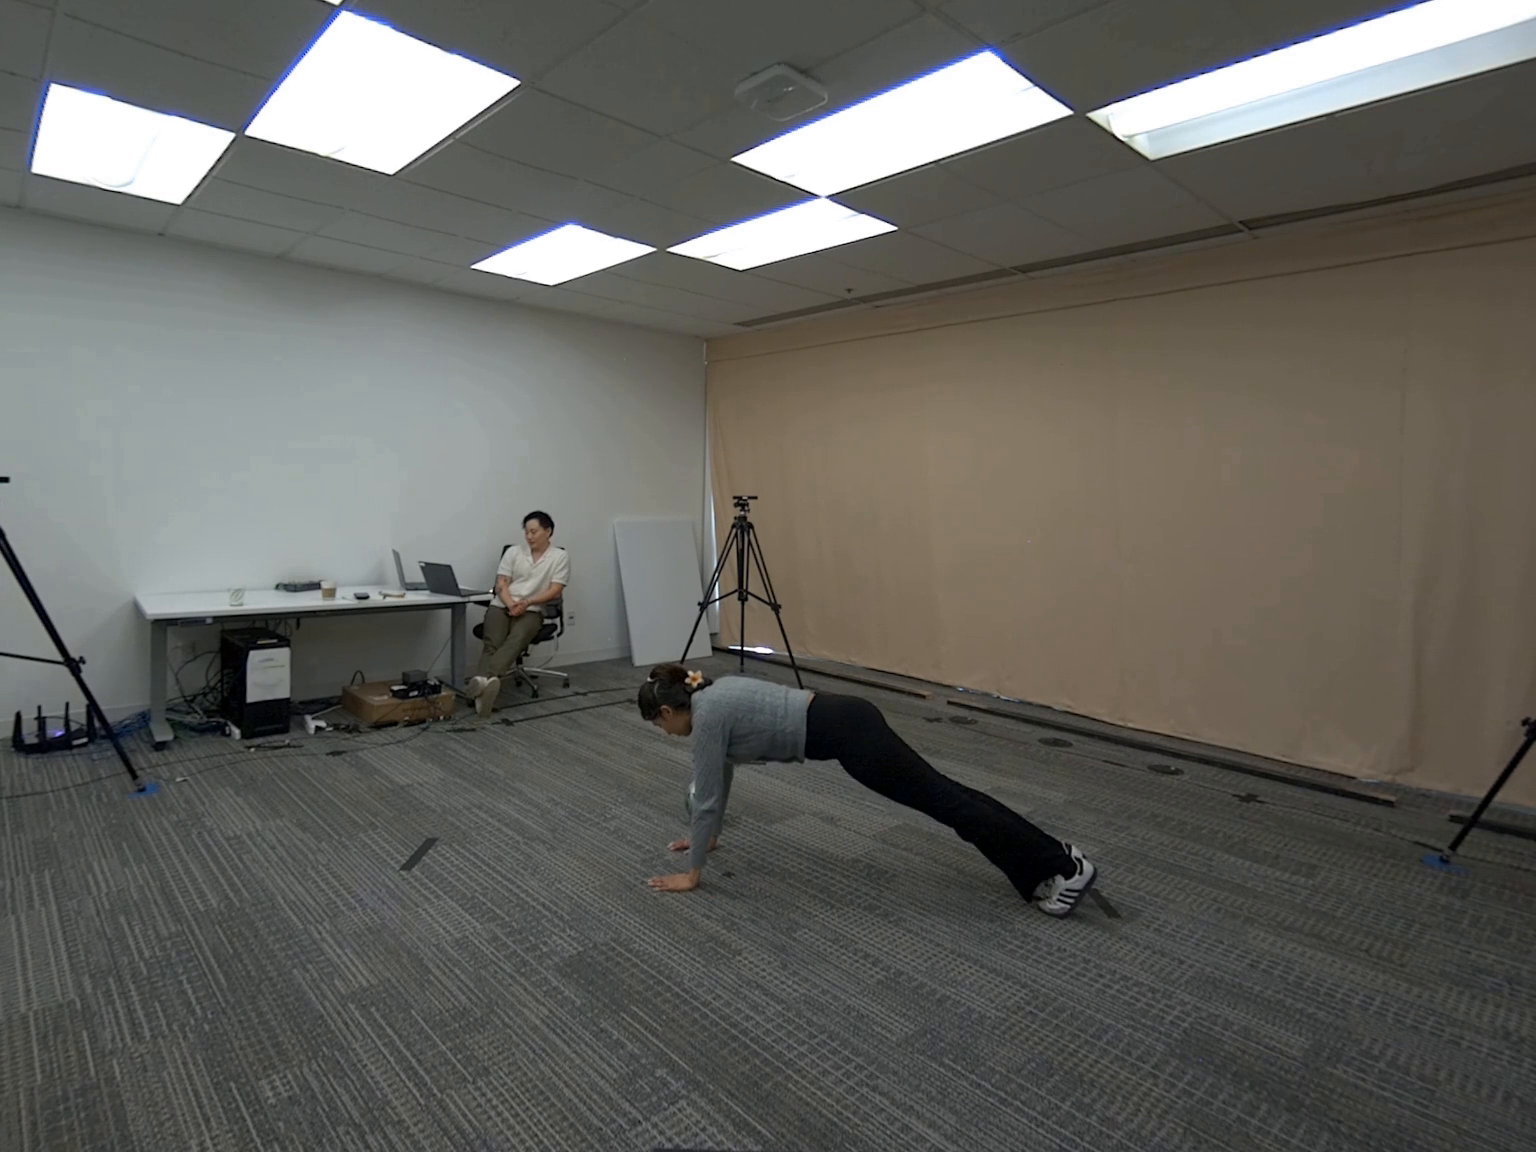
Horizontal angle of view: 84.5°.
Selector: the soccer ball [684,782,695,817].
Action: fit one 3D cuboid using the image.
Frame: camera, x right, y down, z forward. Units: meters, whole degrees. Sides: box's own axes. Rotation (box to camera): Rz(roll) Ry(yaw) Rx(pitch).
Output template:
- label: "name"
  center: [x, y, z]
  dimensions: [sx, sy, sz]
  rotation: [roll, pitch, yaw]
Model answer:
- label: "soccer ball"
  center: [-0.279, 0.963, 3.616]
  dimensions: [0.187, 0.187, 0.188]
  rotation: [1, 4, -1]
